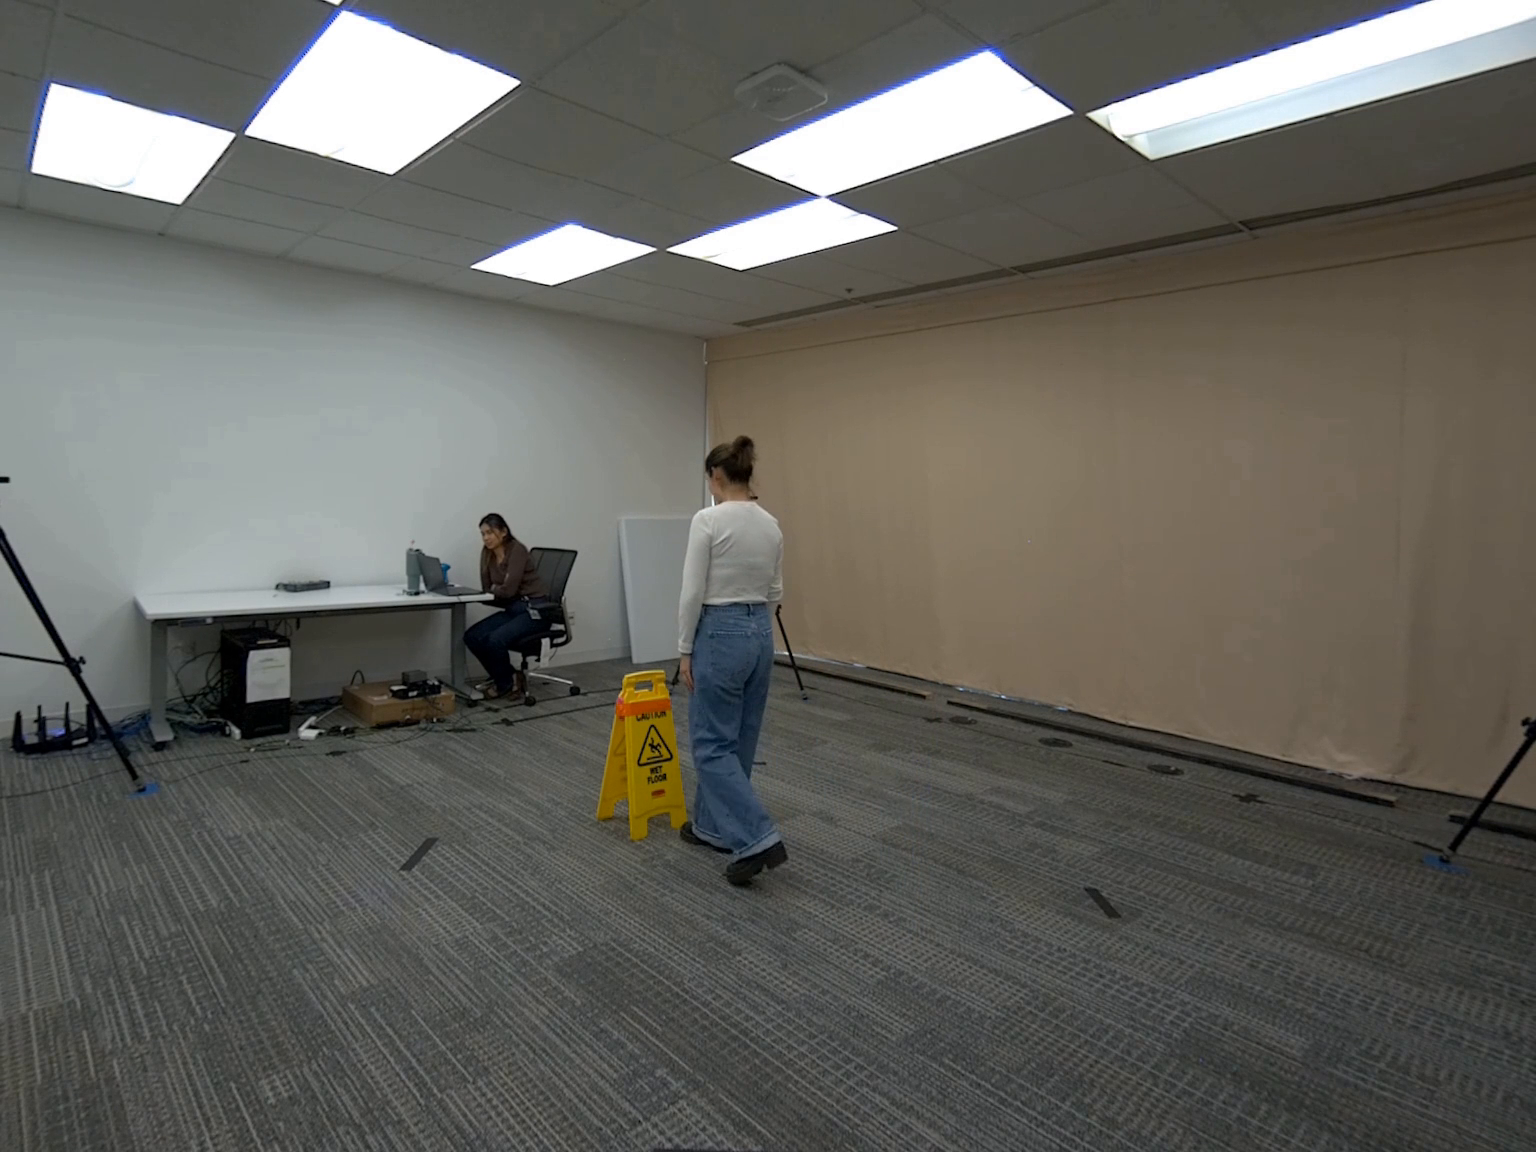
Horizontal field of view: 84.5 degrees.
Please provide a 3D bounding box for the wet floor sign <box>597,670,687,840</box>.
[{"bbox_3d":[-0.541,0.729,3.570,0.276,0.645,0.297,0,2,-40],"label":"wet floor sign"}]
